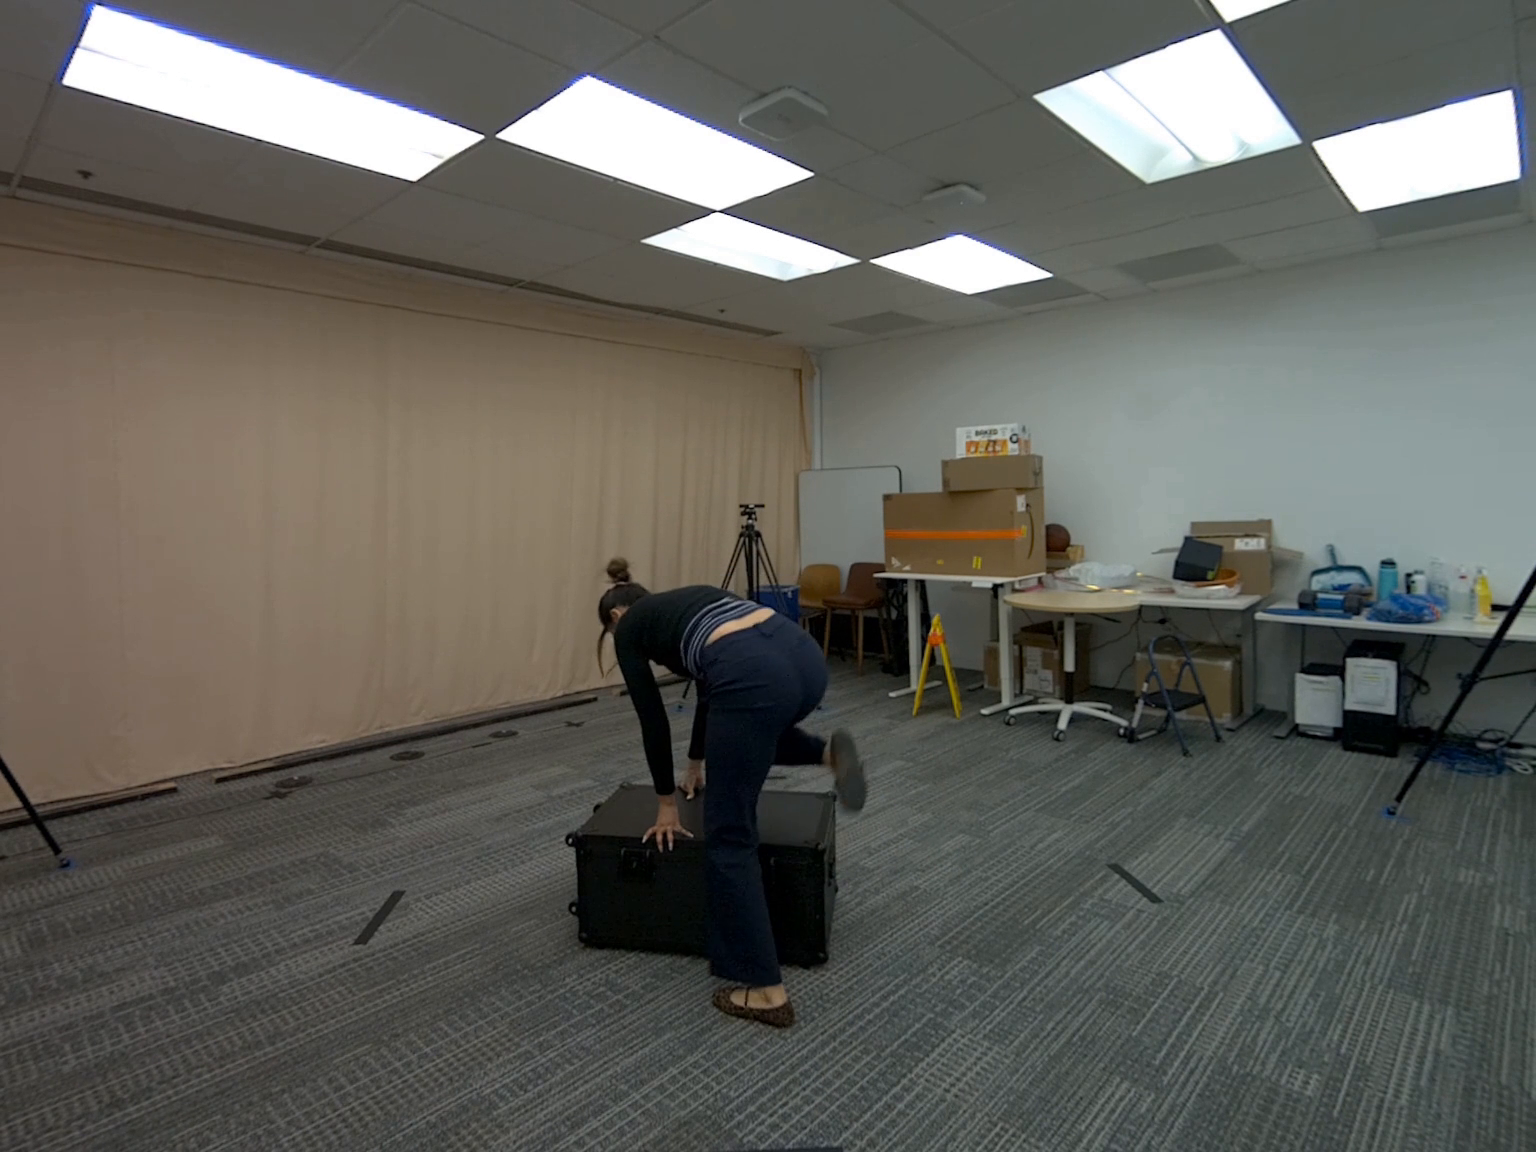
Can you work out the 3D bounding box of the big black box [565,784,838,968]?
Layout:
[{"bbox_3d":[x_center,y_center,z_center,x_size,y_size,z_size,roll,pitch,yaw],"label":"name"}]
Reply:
[{"bbox_3d":[-0.213,0.966,2.815,0.872,0.395,0.516,0,5,11],"label":"big black box"}]
